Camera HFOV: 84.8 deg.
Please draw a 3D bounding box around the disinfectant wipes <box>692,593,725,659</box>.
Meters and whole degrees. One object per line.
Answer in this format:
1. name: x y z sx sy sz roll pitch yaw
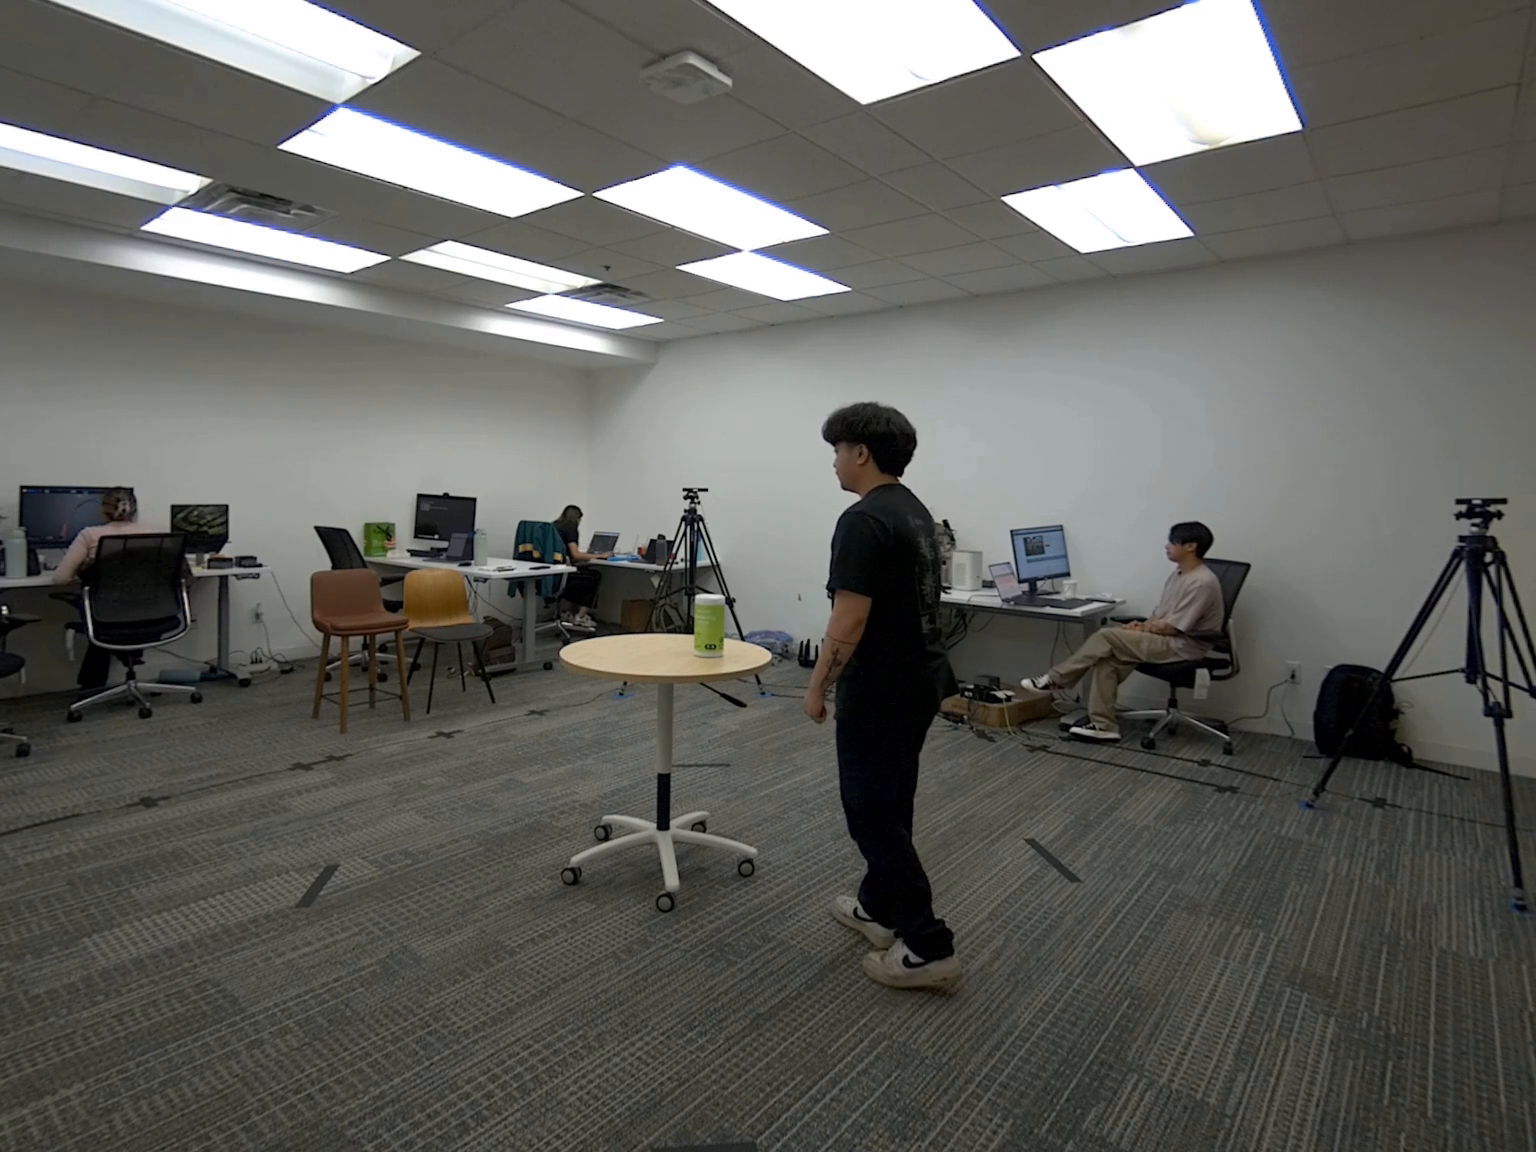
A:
1. disinfectant wipes: -0.222 0.175 3.054 0.117 0.216 0.118 2 5 -2
